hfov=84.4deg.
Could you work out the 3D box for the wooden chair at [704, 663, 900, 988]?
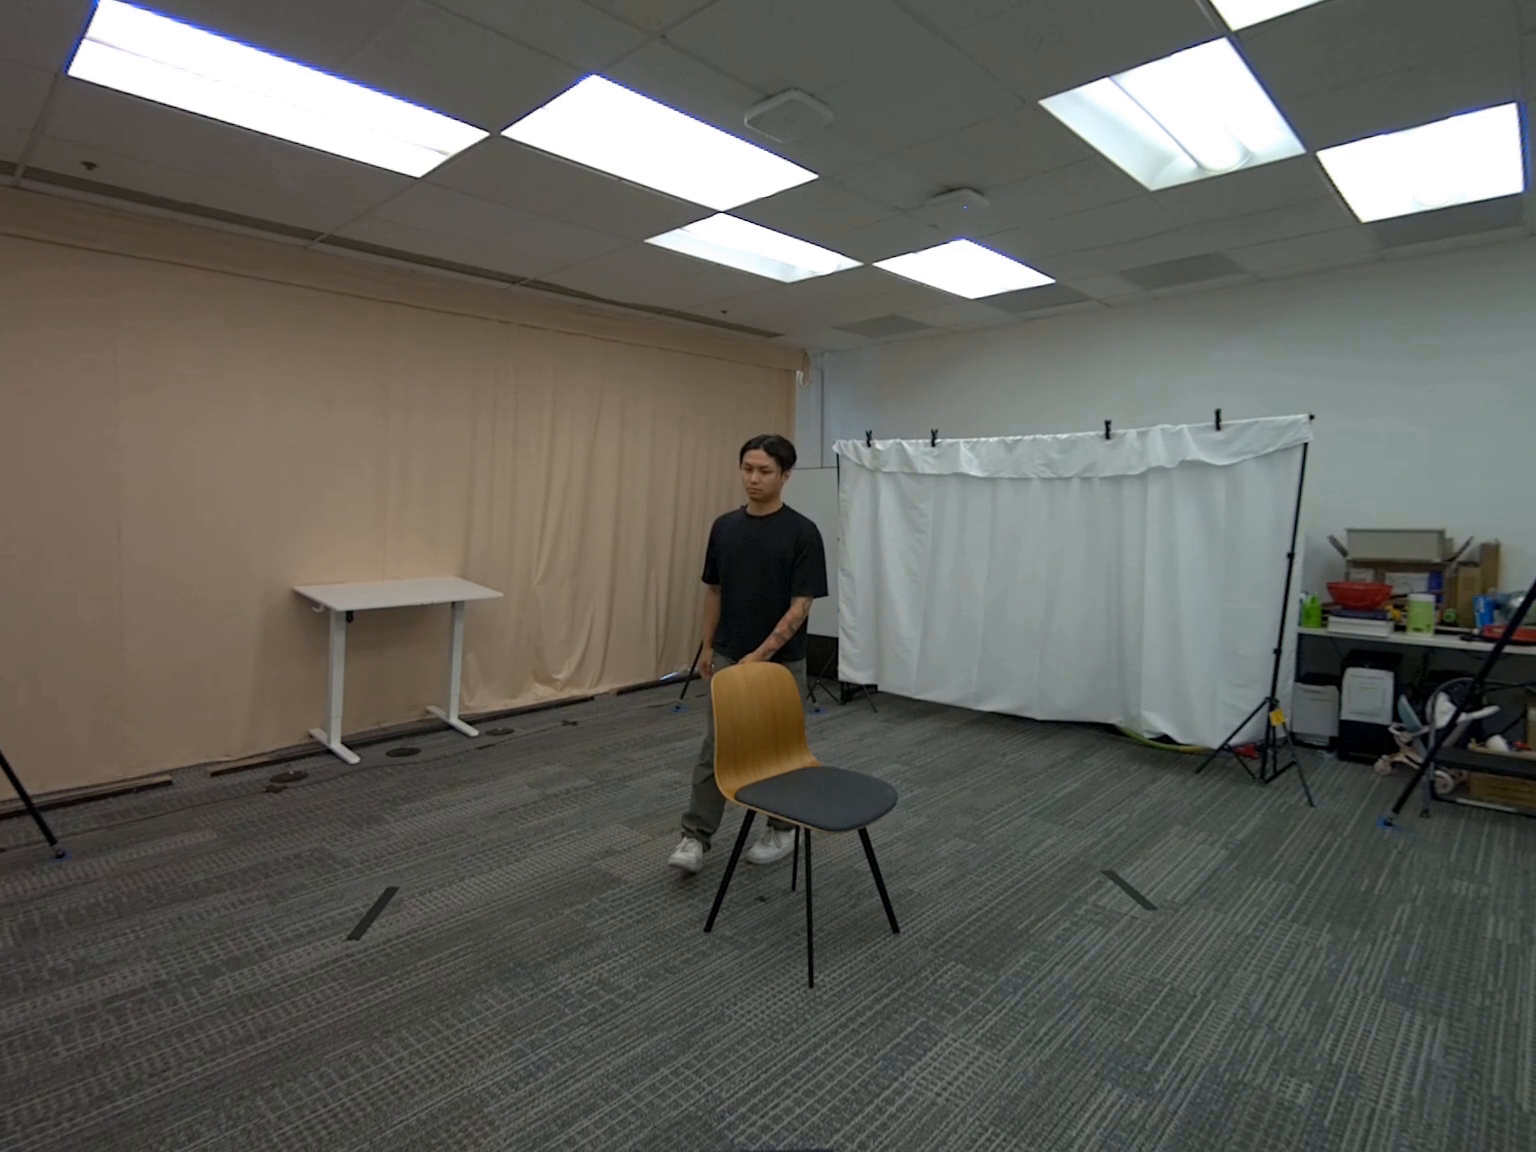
[{"bbox_3d":[0.120,0.737,2.707,0.539,0.877,0.463,-3,0,44],"label":"wooden chair"}]
